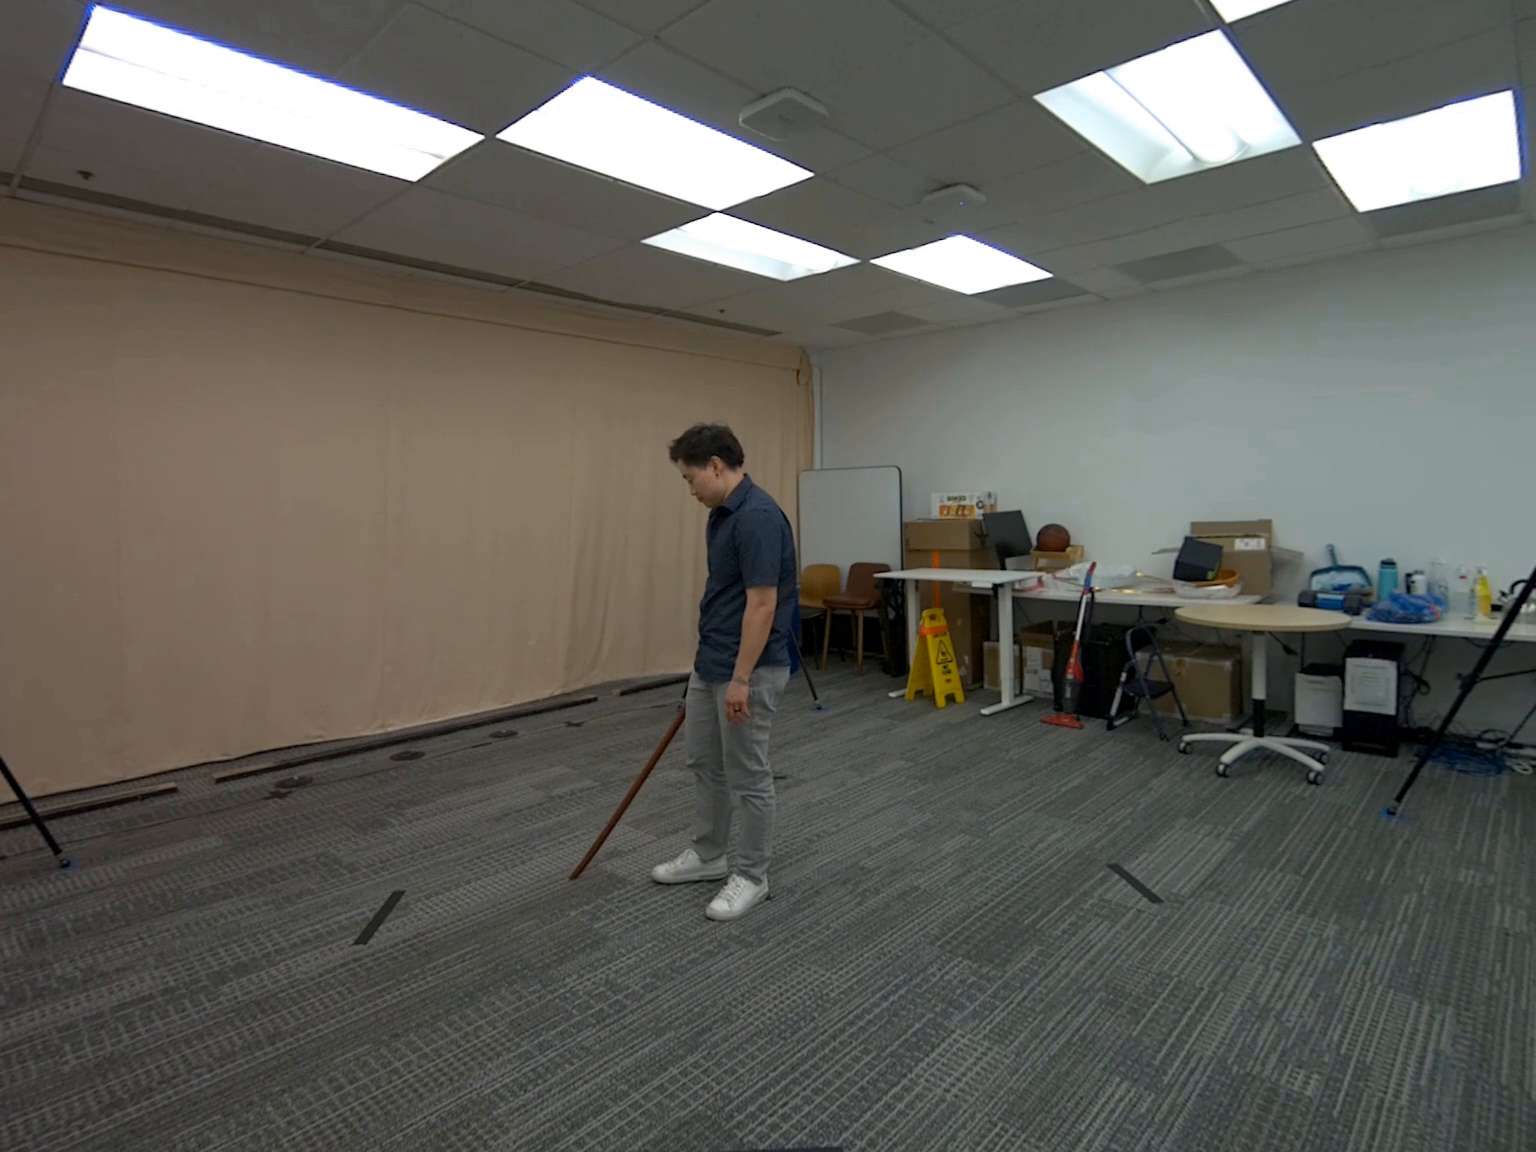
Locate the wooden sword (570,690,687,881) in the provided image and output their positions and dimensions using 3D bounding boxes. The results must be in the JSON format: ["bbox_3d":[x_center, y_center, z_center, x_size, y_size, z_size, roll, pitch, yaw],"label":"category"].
[{"bbox_3d":[-0.459,0.726,3.196,0.024,1.024,0.051,33,-4,-5],"label":"wooden sword"}]
